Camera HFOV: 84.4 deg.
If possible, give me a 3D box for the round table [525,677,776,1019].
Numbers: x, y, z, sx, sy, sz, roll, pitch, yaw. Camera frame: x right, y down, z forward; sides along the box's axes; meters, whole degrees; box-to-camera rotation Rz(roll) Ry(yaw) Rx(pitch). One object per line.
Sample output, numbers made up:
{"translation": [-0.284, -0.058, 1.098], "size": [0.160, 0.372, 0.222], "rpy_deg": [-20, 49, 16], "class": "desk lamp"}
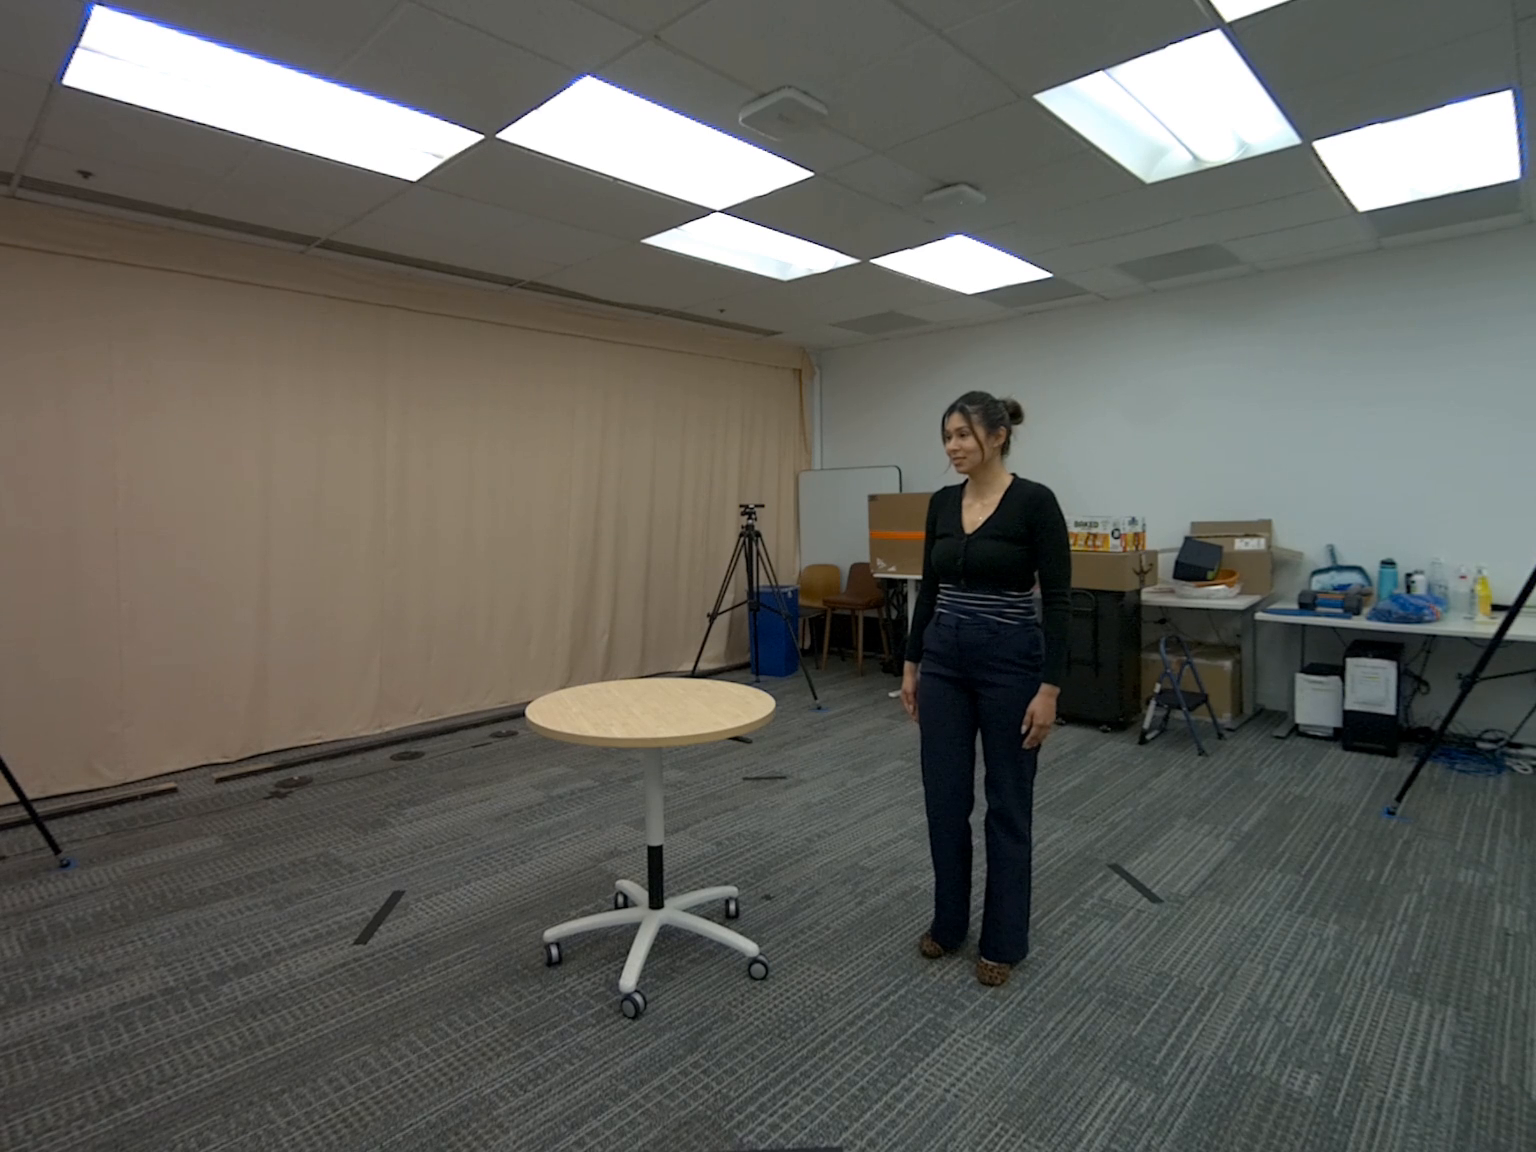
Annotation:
{"translation": [-0.345, 0.792, 2.620], "size": [0.763, 0.792, 0.767], "rpy_deg": [-1, 4, -2], "class": "round table"}
